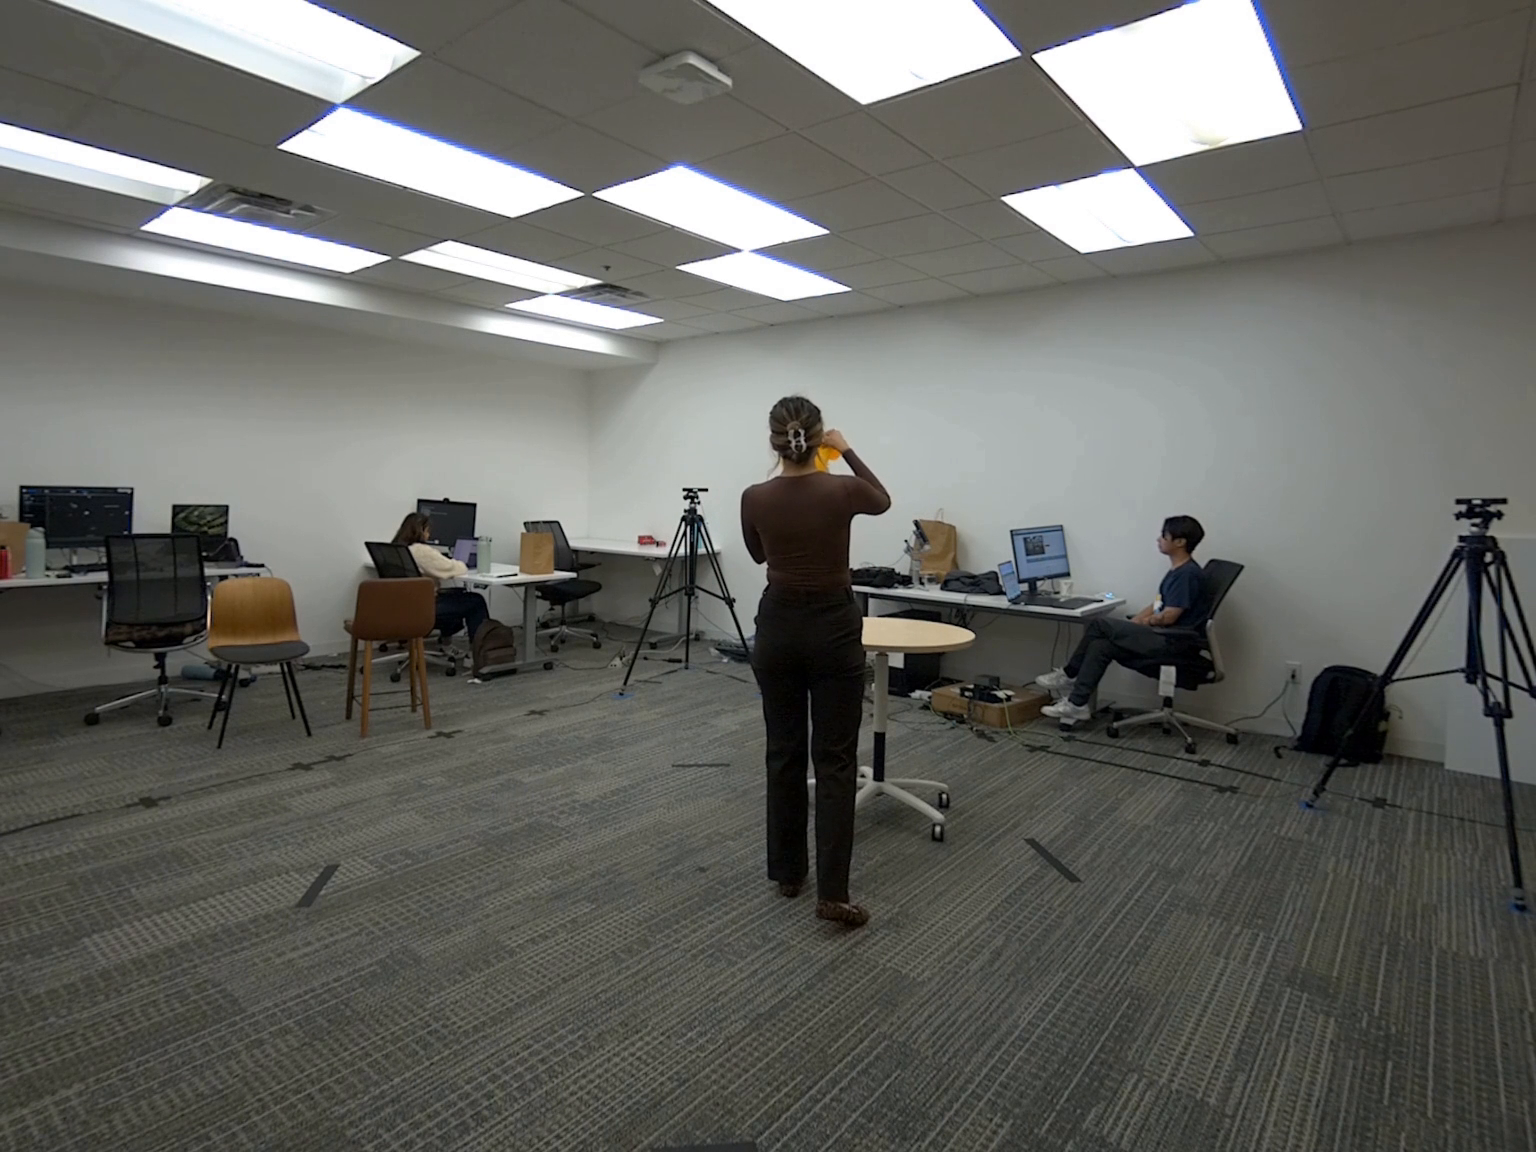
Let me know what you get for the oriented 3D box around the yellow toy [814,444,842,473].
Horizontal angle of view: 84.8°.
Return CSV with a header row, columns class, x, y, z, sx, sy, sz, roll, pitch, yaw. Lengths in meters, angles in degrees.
class,x,y,z,sx,sy,sz,roll,pitch,yaw
yellow toy,0.165,-0.402,3.278,0.198,0.231,0.199,8,-1,-32
